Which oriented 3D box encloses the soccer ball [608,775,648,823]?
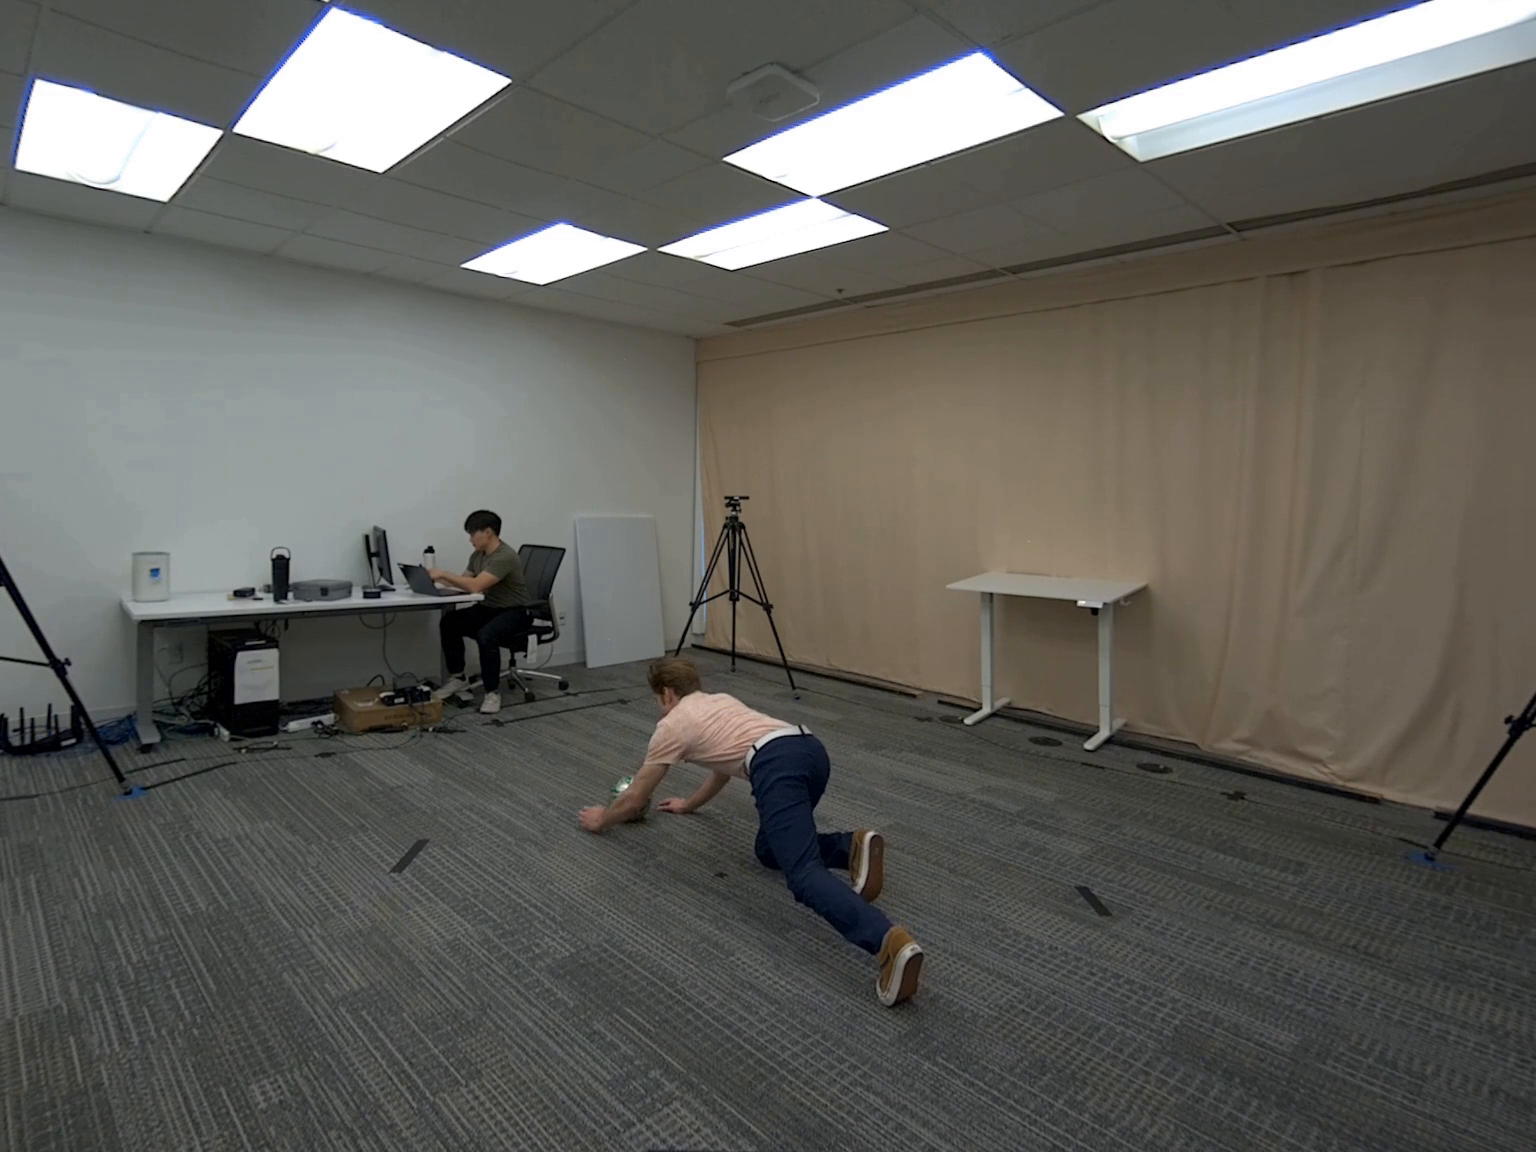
[{"bbox_3d":[-0.594,0.952,3.610,0.187,0.187,0.188,1,4,-1],"label":"soccer ball"}]
